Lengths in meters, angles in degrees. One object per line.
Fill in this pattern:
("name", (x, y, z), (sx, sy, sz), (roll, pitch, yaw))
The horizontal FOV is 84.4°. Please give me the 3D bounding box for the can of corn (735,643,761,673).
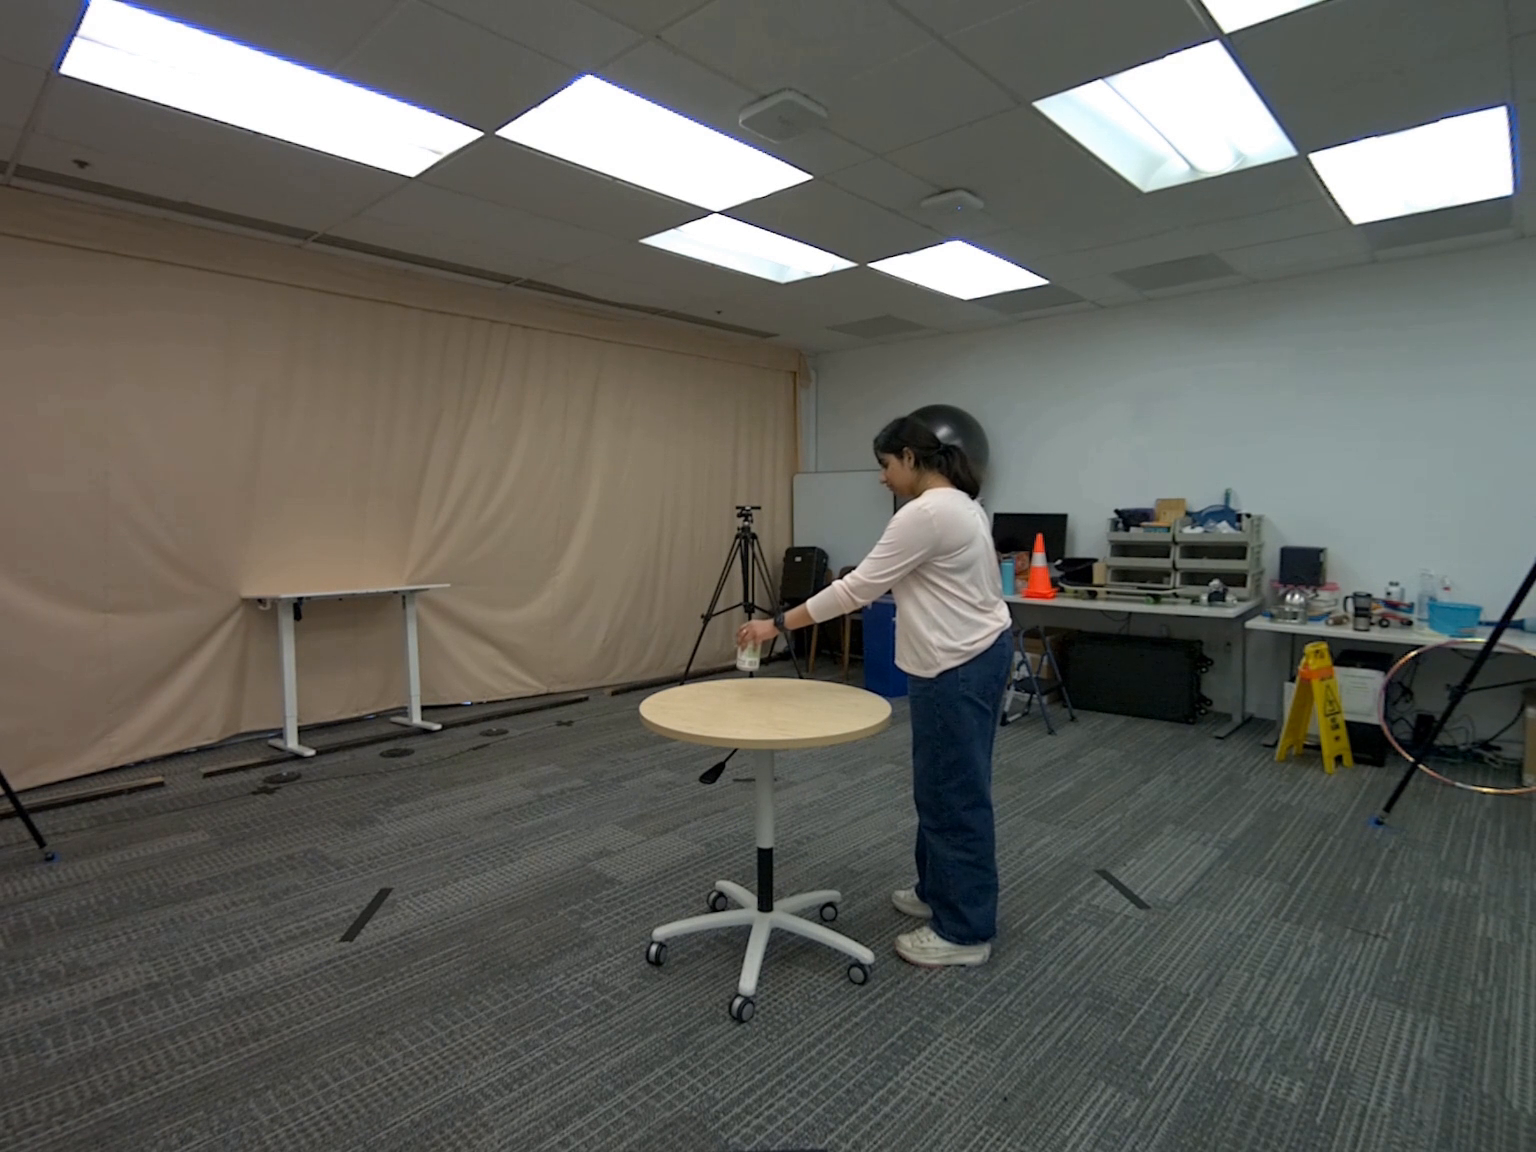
("can of corn", (-0.053, 0.245, 2.739), (0.074, 0.110, 0.074), (4, 7, -2))
